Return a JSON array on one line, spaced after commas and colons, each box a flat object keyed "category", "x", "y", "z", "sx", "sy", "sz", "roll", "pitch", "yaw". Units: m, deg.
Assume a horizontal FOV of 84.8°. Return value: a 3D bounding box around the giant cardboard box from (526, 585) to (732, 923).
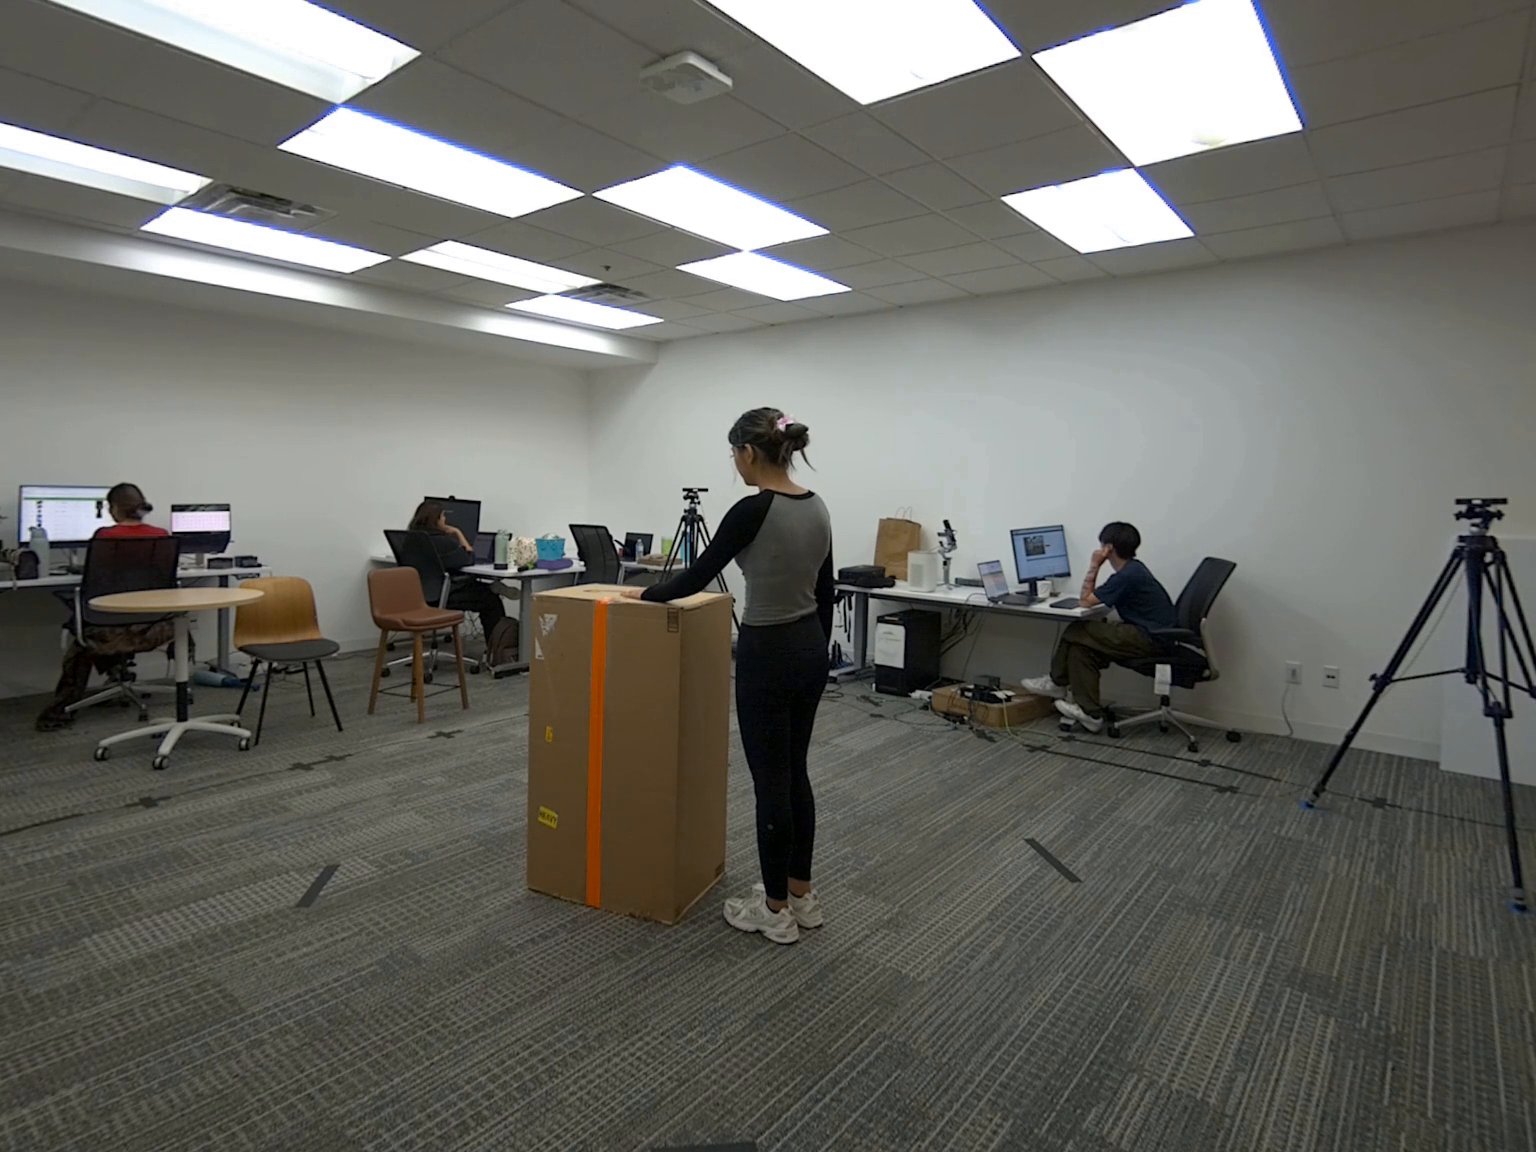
[{"category": "giant cardboard box", "x": -0.494, "y": 0.571, "z": 2.977, "sx": 0.598, "sy": 1.025, "sz": 0.437, "roll": 3, "pitch": 3, "yaw": 22}]
